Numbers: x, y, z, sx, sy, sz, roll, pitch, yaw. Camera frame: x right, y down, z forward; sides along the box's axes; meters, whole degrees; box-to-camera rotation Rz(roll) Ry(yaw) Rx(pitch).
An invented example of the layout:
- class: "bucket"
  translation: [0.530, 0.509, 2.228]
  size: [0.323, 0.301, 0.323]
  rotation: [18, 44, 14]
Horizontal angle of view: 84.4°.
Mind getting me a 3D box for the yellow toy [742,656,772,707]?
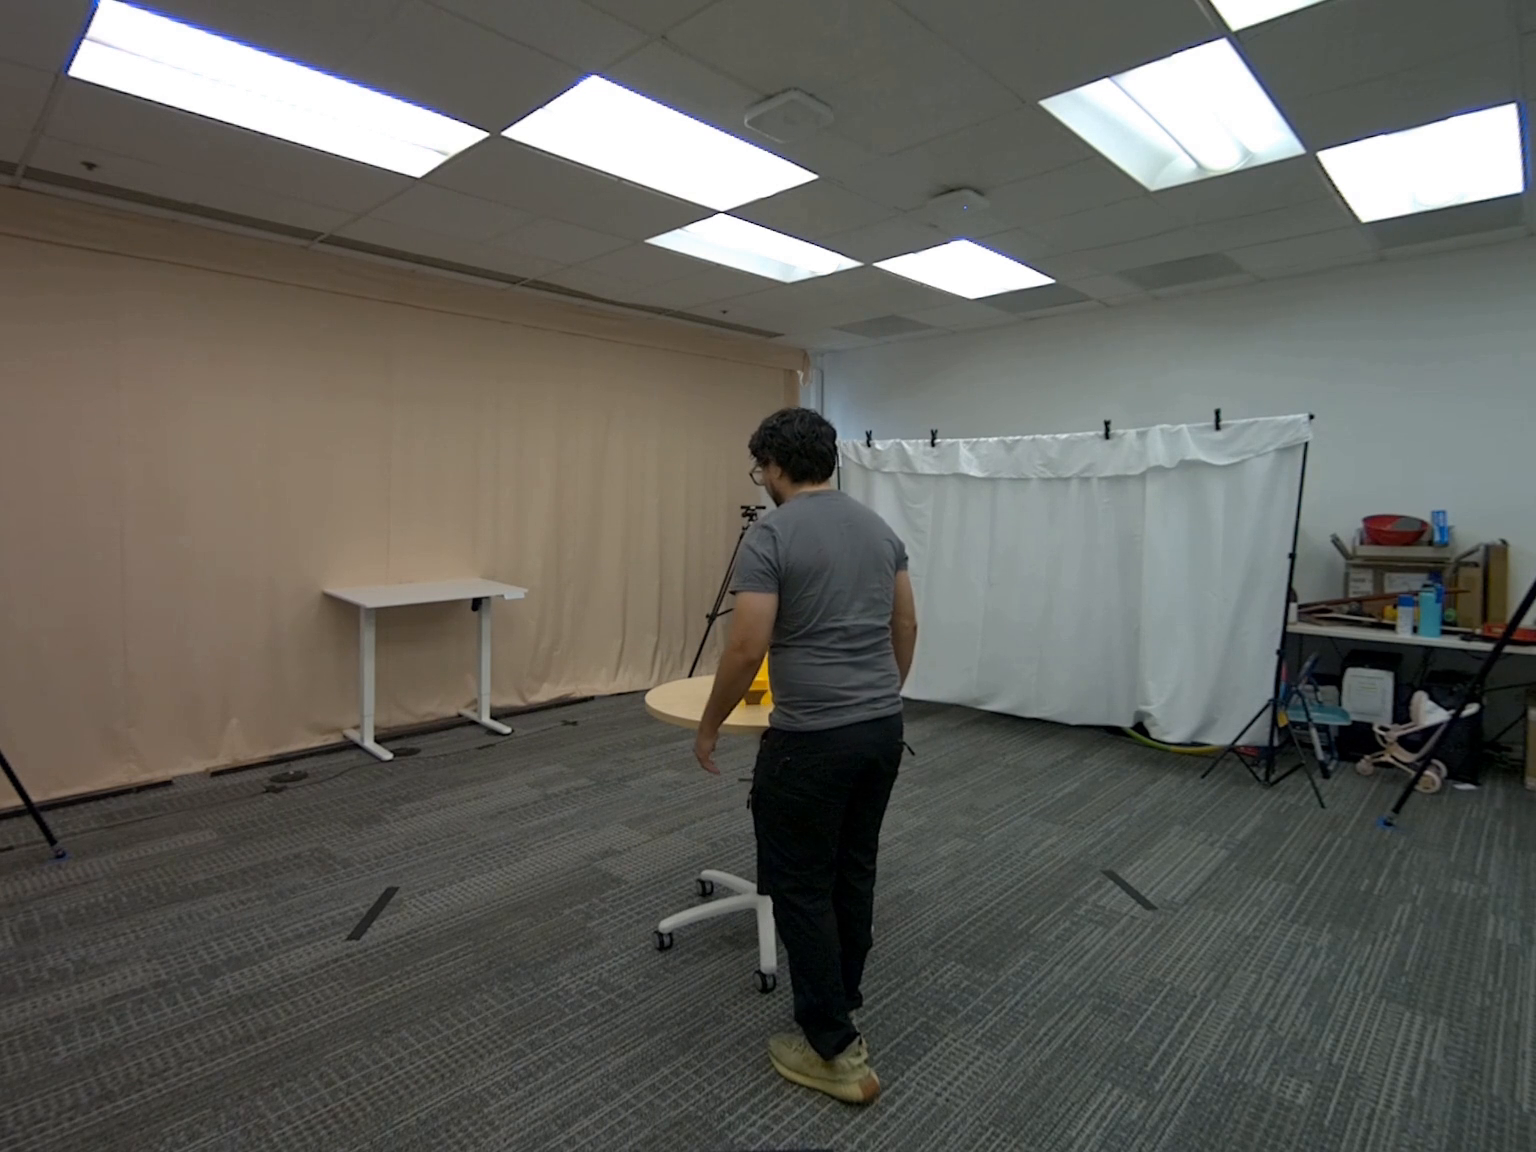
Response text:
- class: "yellow toy"
  translation: [-0.055, 0.275, 2.629]
  size: [0.202, 0.230, 0.196]
  rotation: [0, 3, -14]
